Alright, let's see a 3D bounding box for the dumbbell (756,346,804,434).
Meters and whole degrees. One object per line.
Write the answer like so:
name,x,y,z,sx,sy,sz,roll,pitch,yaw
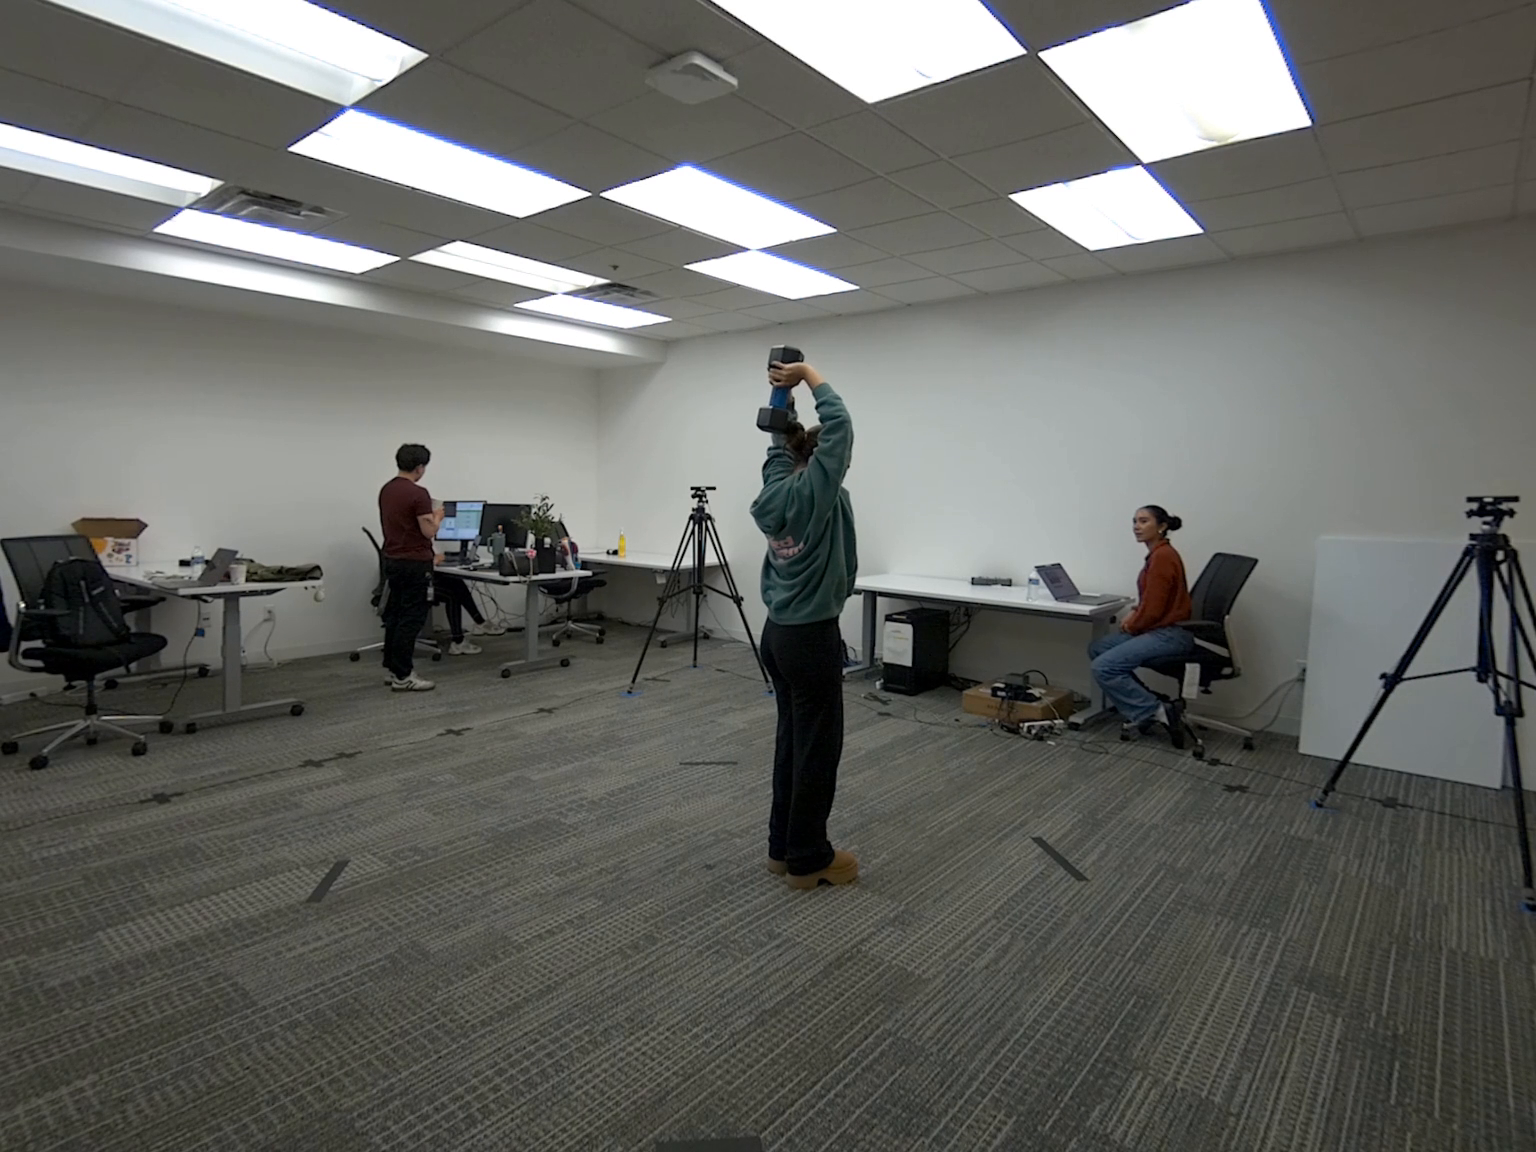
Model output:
dumbbell,0.036,-0.645,2.948,0.120,0.293,0.111,13,0,-17
